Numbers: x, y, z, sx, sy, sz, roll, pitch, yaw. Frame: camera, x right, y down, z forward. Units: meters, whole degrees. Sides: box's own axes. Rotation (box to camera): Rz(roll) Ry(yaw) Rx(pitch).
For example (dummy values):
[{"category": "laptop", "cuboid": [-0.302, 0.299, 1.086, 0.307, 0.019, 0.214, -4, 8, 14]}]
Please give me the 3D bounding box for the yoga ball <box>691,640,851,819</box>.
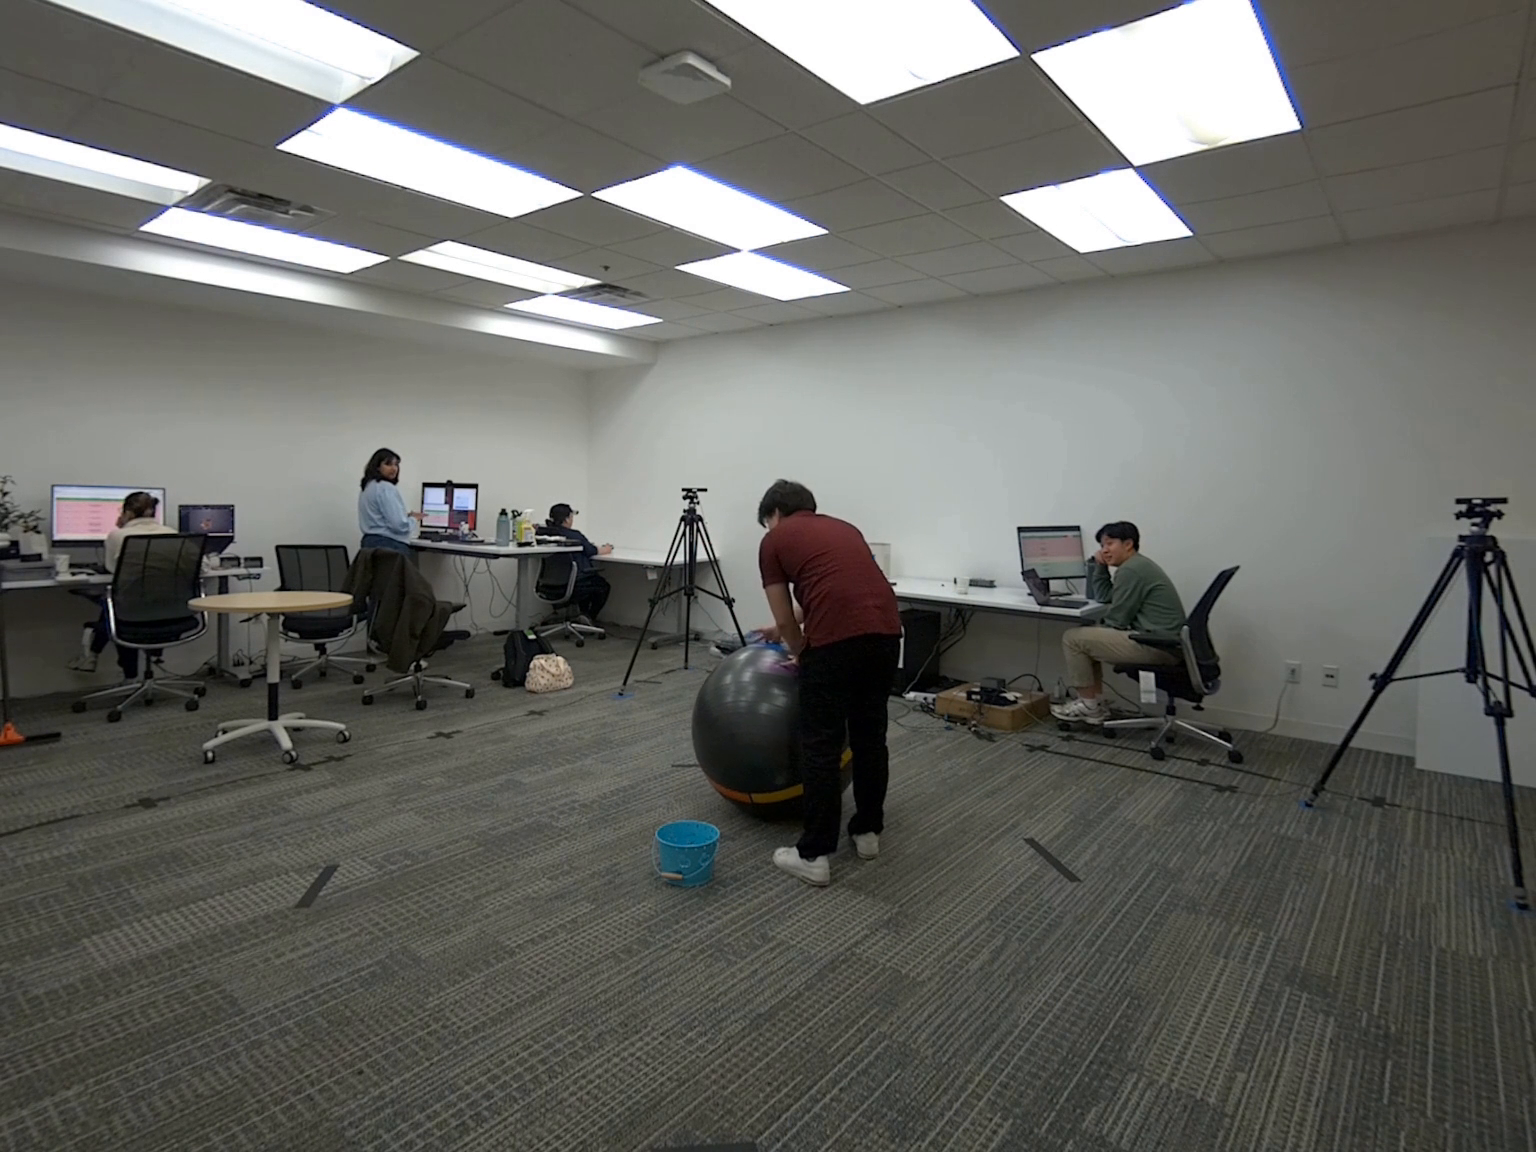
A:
[{"category": "yoga ball", "cuboid": [0.034, 0.667, 3.733, 0.757, 0.755, 0.762, 1, 4, -2]}]
